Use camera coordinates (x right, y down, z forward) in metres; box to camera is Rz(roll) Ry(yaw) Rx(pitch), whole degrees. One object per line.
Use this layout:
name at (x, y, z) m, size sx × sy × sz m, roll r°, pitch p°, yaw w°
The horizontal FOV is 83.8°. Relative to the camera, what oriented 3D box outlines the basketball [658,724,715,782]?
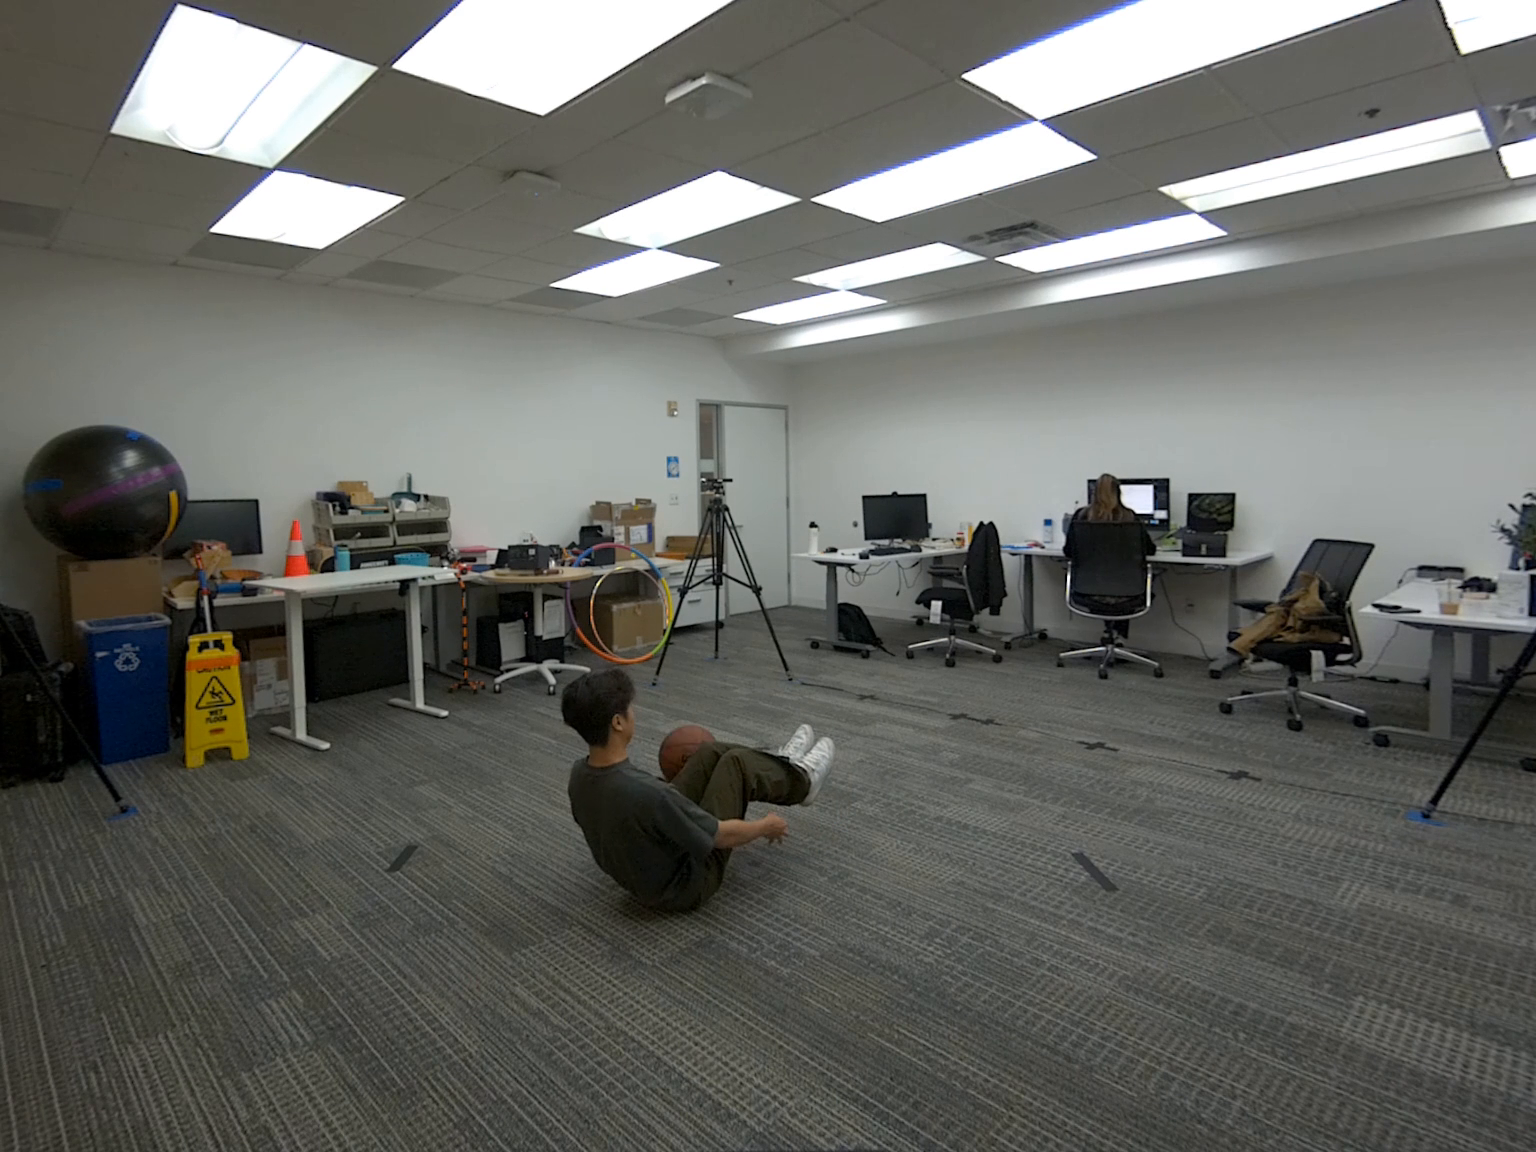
basketball at (-0.291, 0.686, 3.267) m, size 0.236 × 0.235 × 0.237 m, roll -1°, pitch 5°, yaw -2°
